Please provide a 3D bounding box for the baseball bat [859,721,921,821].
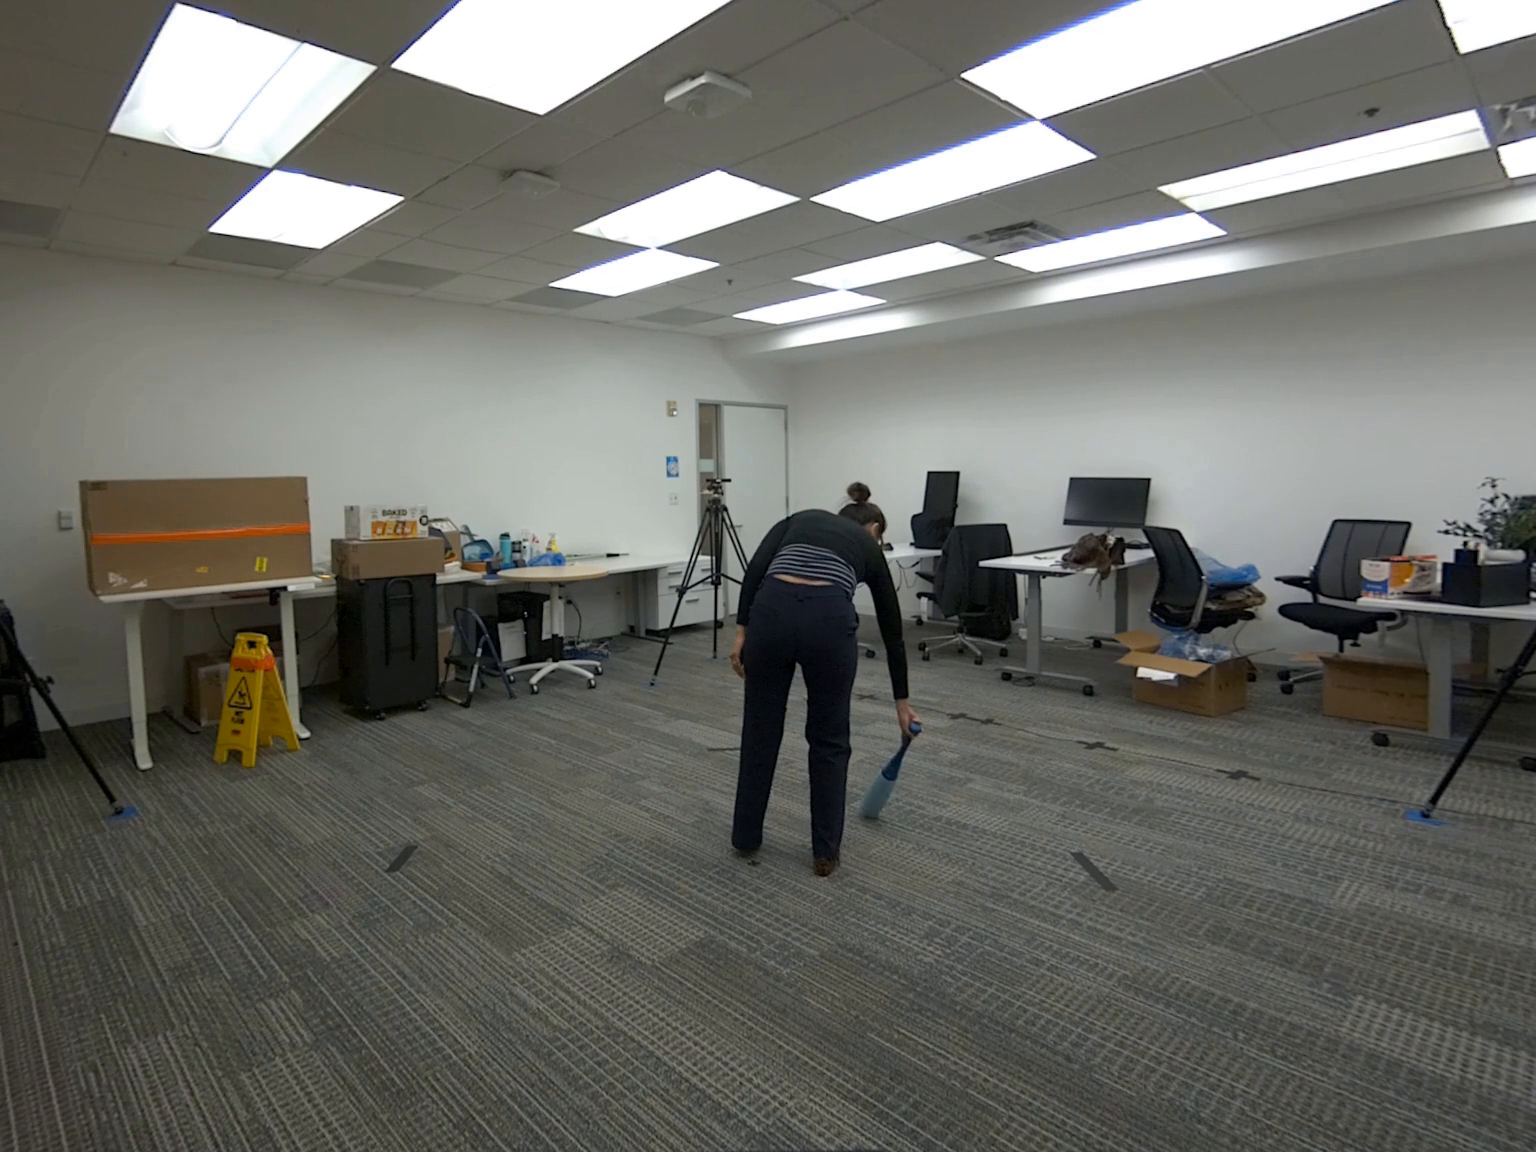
[{"bbox_3d":[0.486,0.775,3.372,0.088,0.534,0.091,12,37,-11],"label":"baseball bat"}]
